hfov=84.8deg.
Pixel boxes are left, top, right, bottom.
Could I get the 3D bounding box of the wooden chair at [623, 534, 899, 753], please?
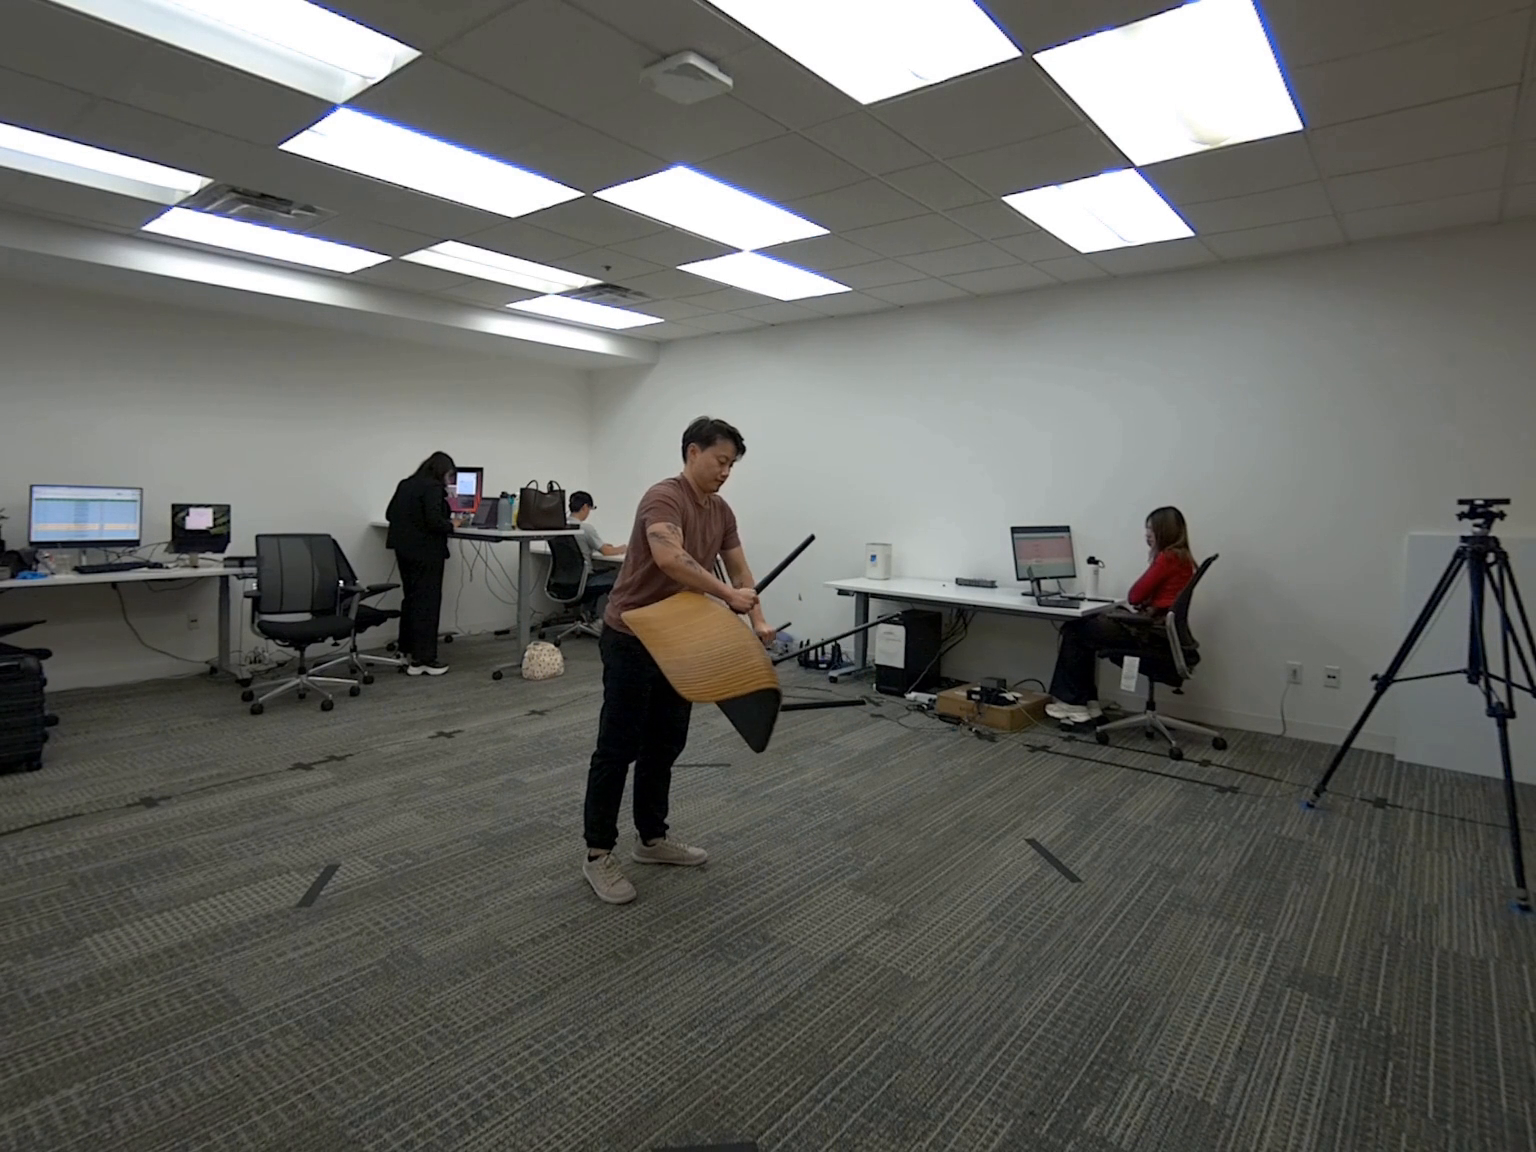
[{"bbox_3d":[-0.087,0.280,2.809,0.859,0.513,0.497,-18,49,-36],"label":"wooden chair"}]
